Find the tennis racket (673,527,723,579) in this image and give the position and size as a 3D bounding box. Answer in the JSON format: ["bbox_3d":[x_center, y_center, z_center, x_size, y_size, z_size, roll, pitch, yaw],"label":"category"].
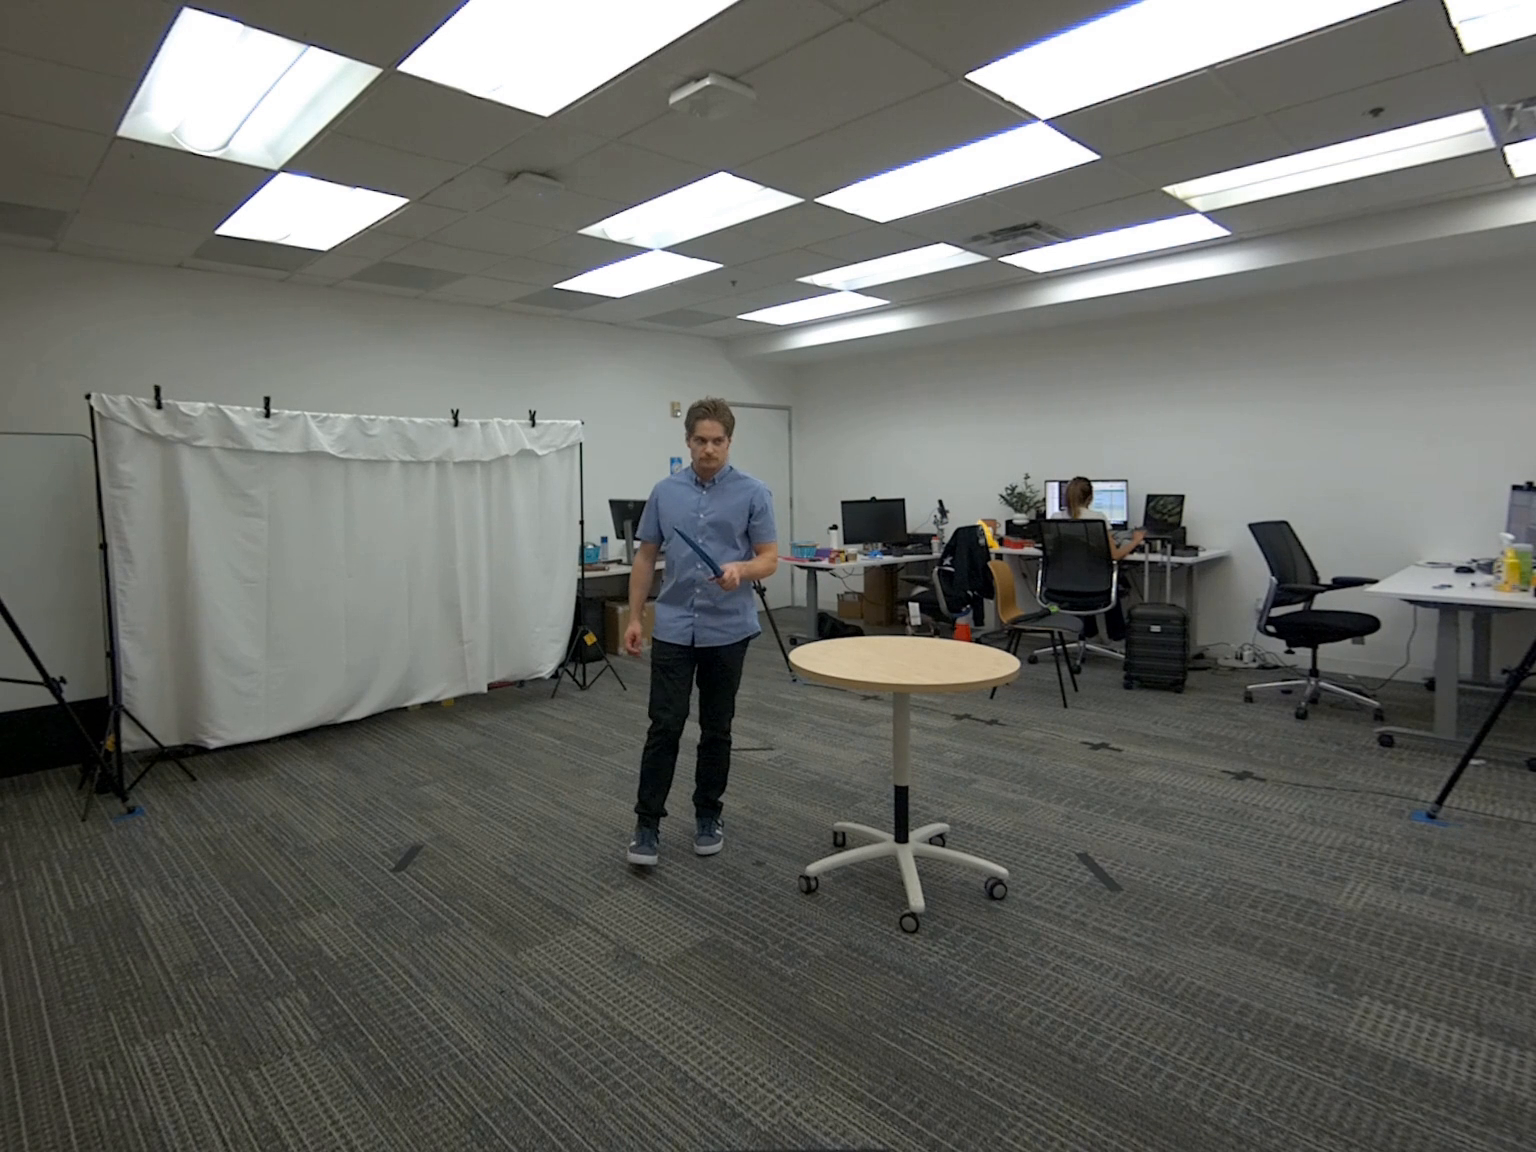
[{"bbox_3d":[-0.200,-0.045,2.842,0.032,0.221,0.418,-39,-28,-2],"label":"tennis racket"}]
